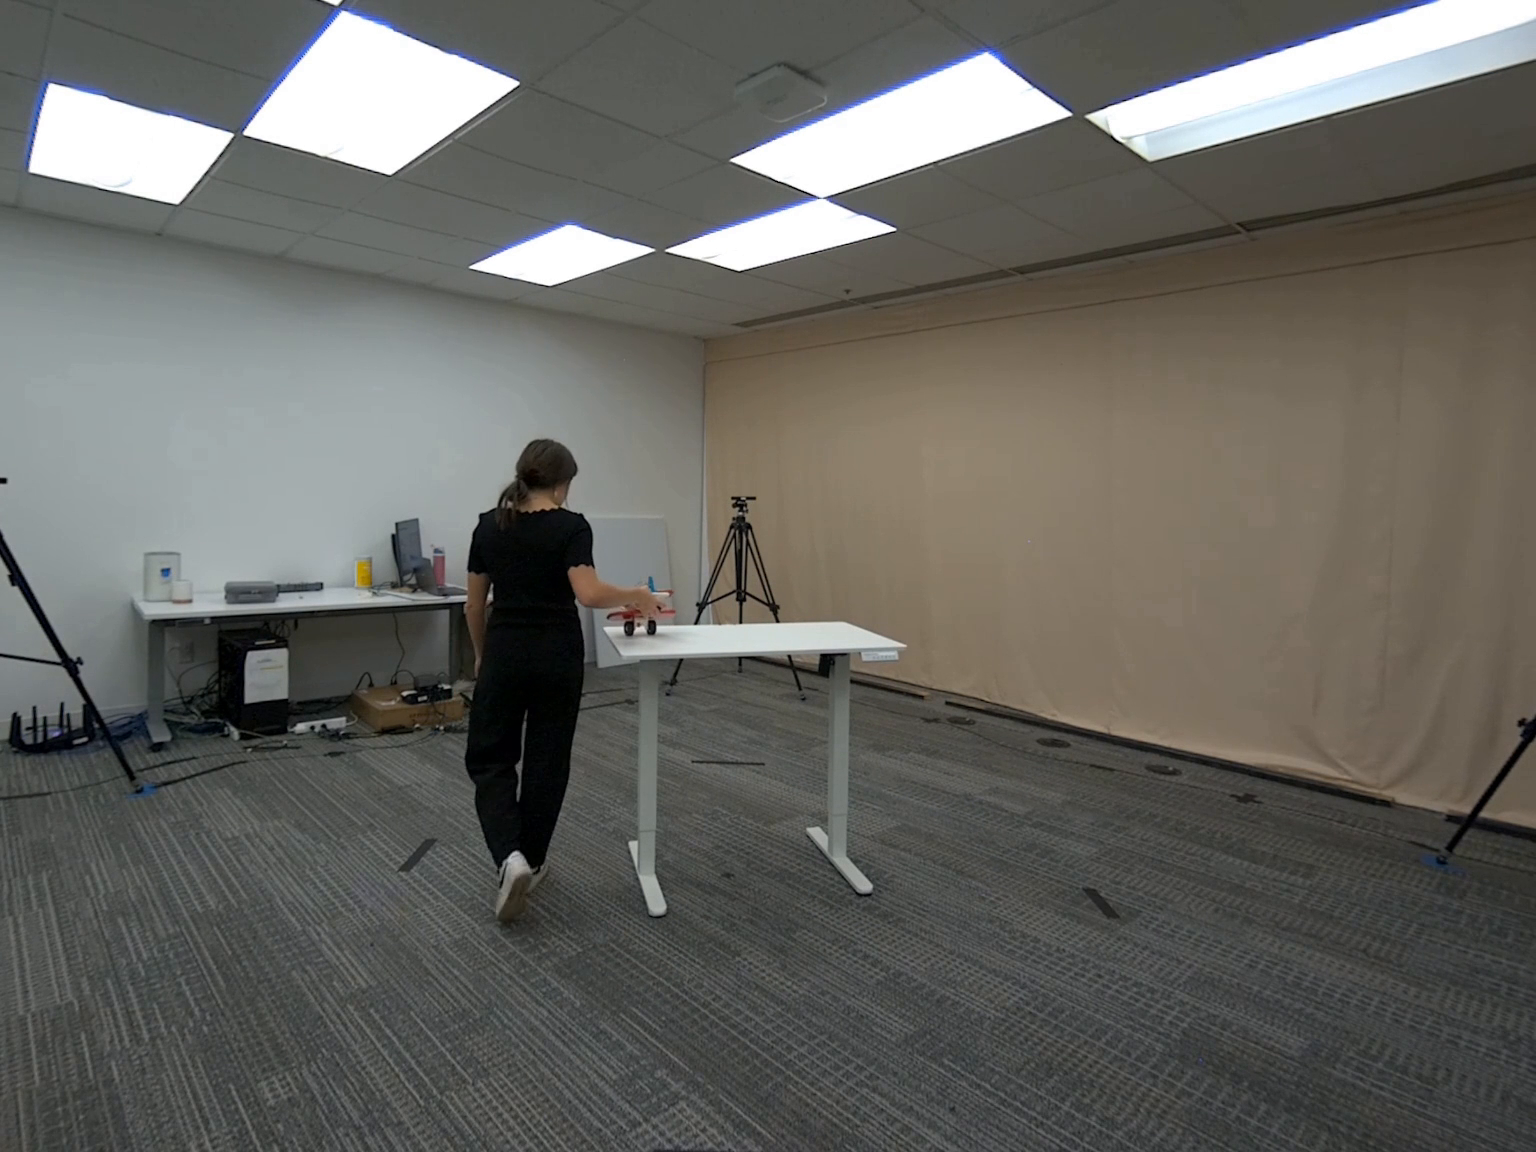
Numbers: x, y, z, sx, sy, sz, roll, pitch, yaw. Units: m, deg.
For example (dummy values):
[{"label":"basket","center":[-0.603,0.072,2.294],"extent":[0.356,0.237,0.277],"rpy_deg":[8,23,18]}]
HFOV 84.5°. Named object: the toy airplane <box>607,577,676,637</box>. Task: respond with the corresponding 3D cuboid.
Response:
[{"label":"toy airplane","center":[-0.443,0.107,3.066],"extent":[0.261,0.160,0.244],"rpy_deg":[-32,-32,31]}]
